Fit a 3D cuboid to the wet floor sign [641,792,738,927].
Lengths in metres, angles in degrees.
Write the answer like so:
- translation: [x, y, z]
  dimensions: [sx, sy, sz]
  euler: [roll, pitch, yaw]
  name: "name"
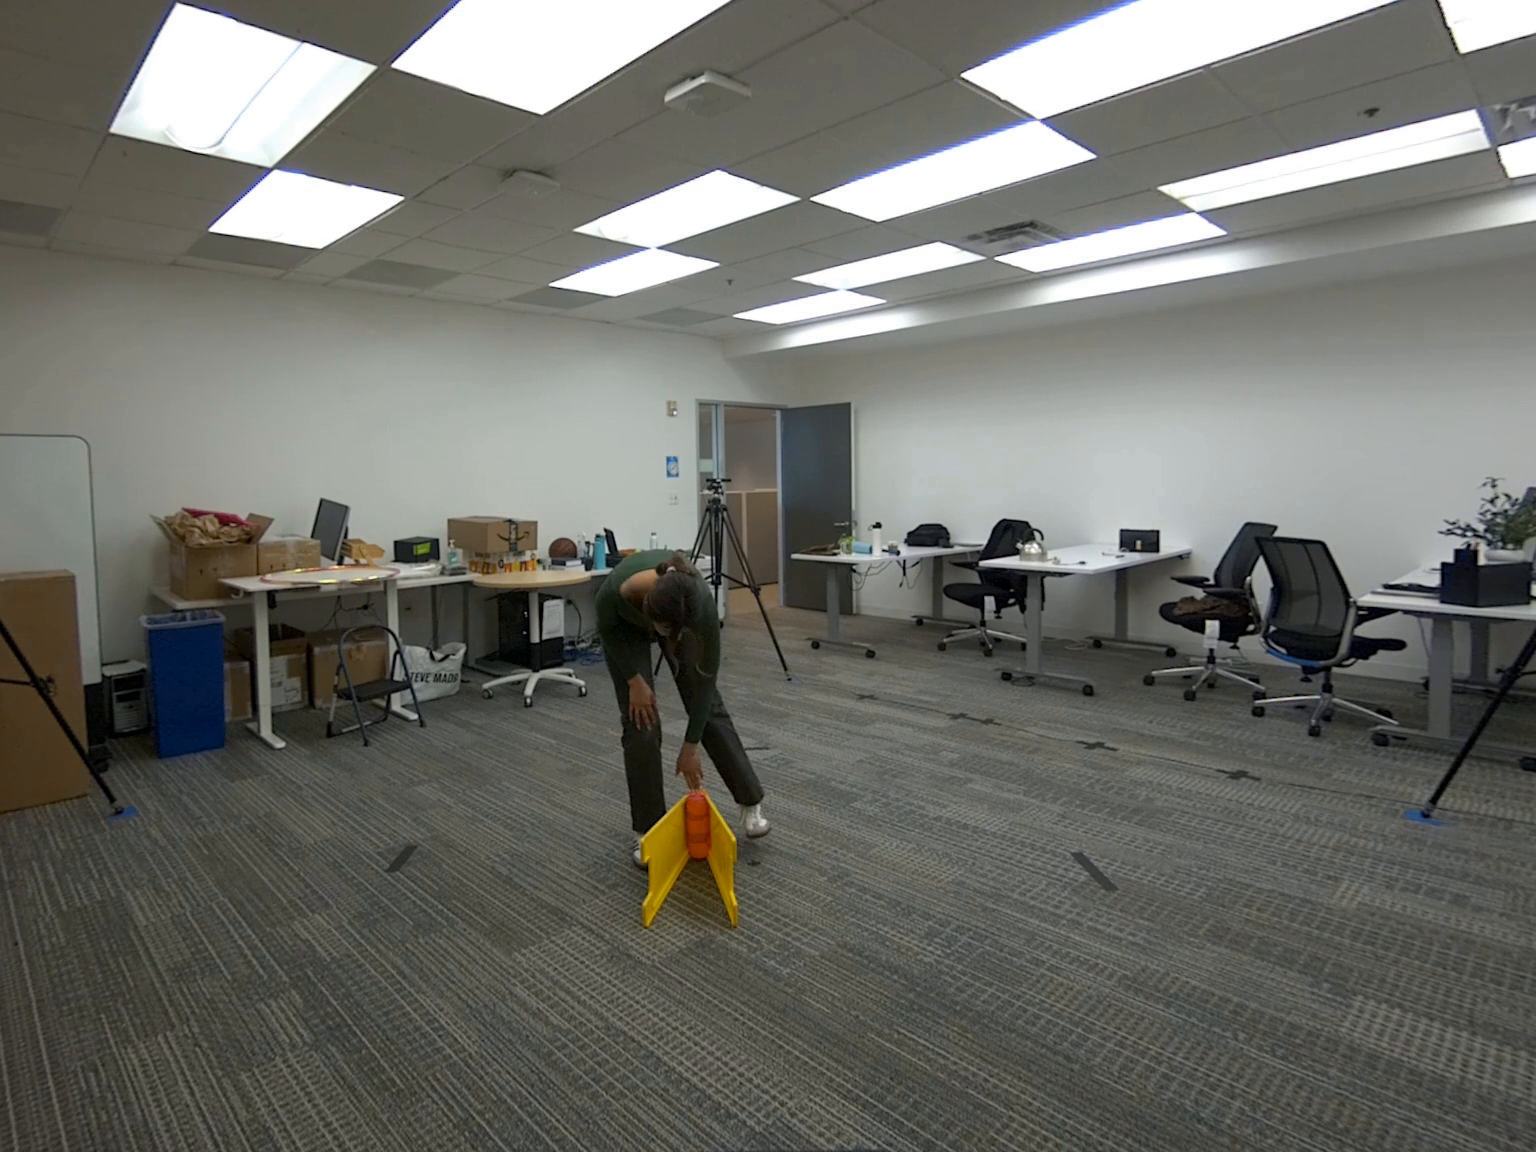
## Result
- translation: [-0.256, 0.928, 2.984]
  dimensions: [0.290, 0.281, 0.648]
  euler: [-1, 4, -2]
  name: "wet floor sign"
